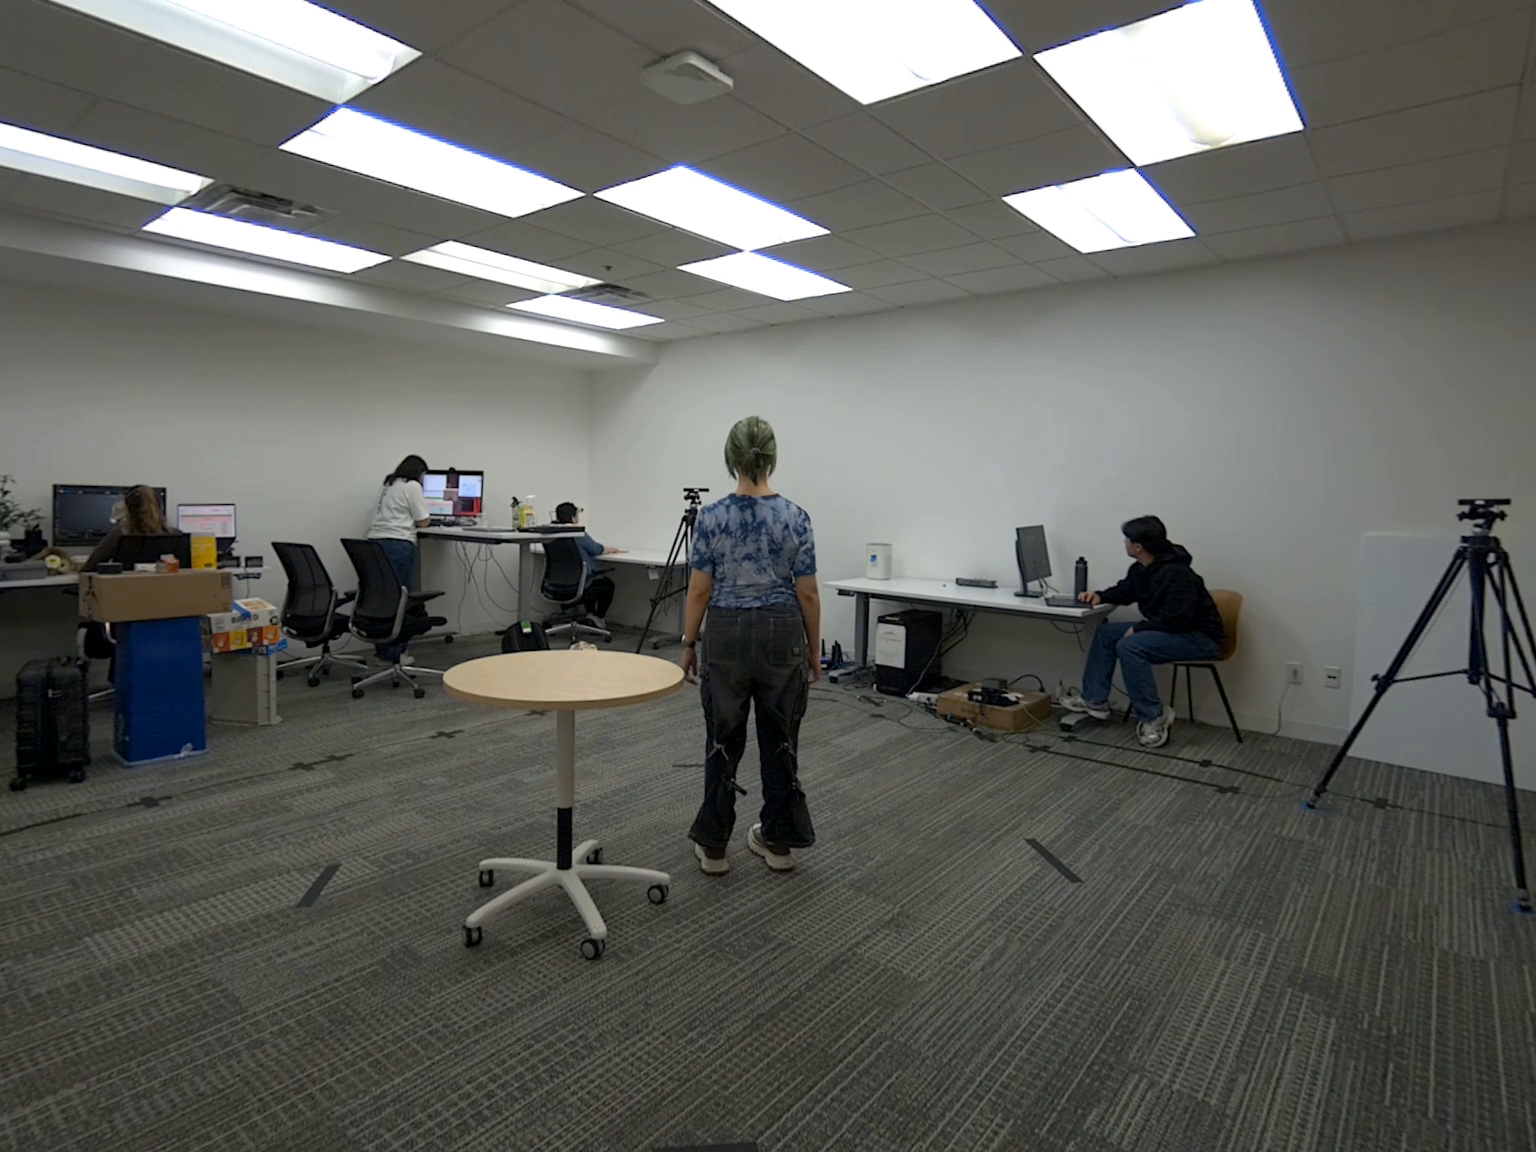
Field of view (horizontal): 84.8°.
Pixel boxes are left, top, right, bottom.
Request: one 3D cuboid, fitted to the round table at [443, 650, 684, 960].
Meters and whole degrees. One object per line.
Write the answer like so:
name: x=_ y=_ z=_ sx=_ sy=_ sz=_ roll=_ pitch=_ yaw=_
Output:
round table: x=-0.675 y=0.705 z=2.779 sx=0.763 sy=0.791 sz=0.768 roll=1 pitch=4 yaw=-2
